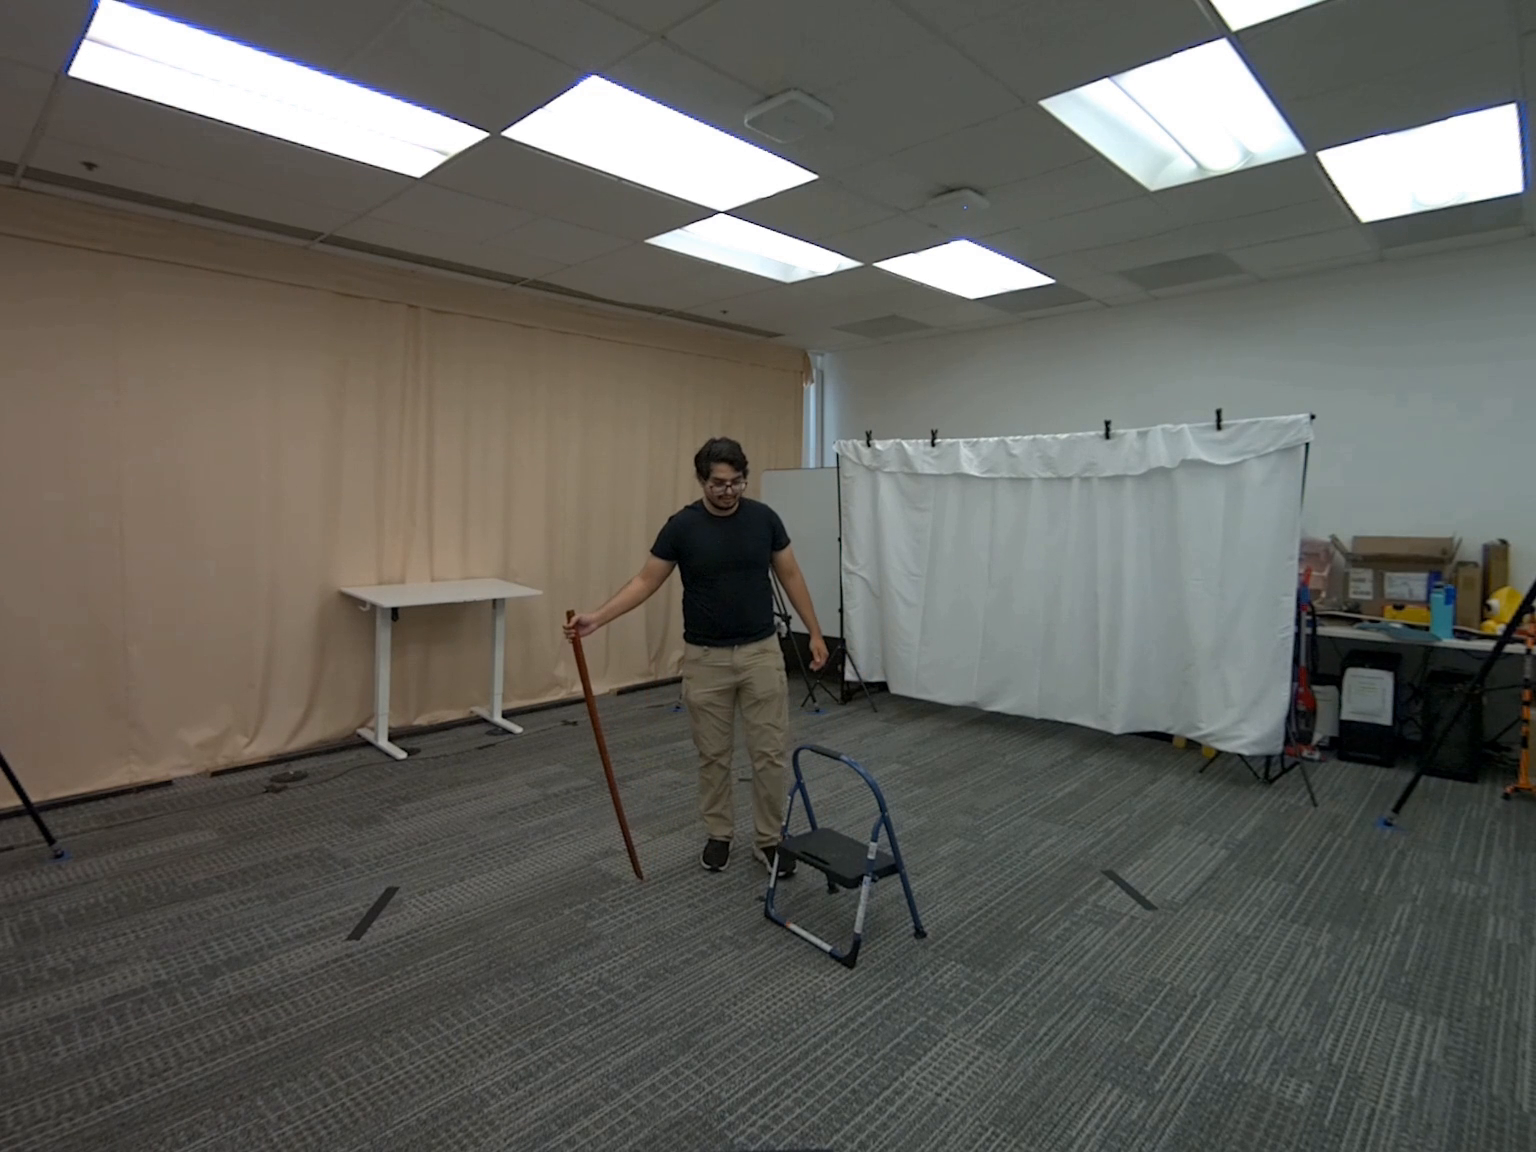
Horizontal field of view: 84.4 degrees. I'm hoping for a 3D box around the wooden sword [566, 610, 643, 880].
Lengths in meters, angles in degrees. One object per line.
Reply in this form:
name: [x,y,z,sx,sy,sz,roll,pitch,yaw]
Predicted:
wooden sword: [-0.602,0.642,3.103,0.023,1.025,0.052,-16,0,-23]
